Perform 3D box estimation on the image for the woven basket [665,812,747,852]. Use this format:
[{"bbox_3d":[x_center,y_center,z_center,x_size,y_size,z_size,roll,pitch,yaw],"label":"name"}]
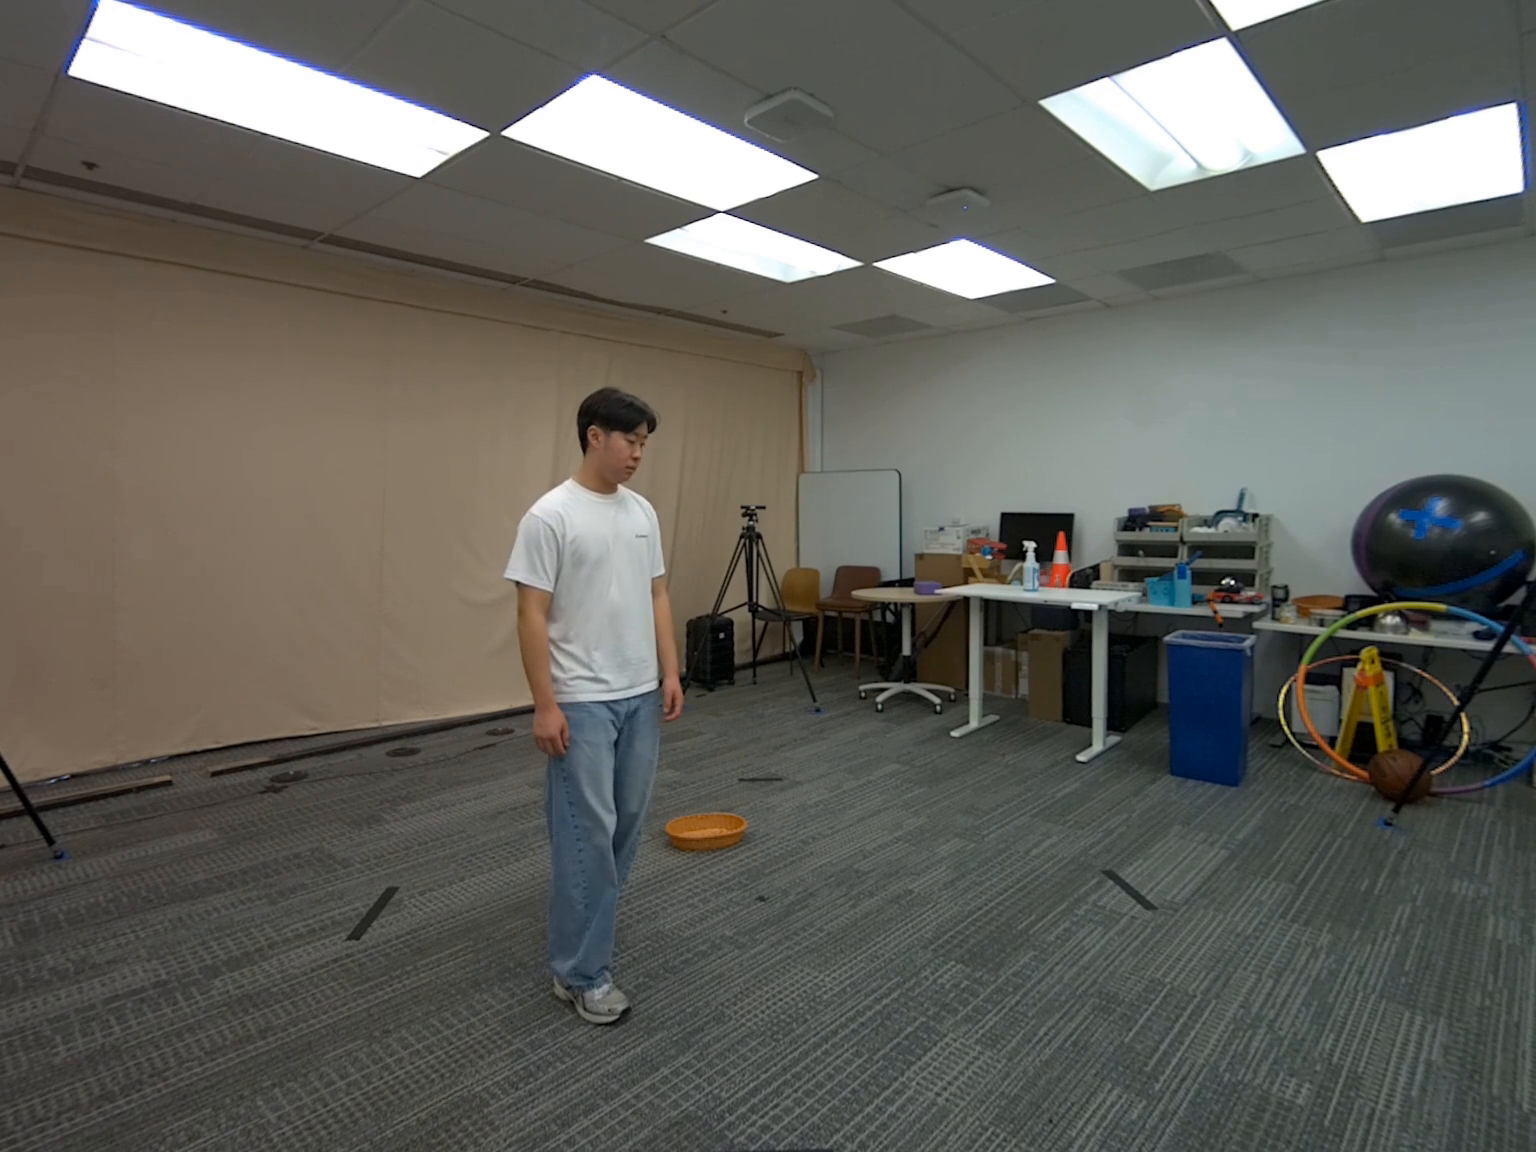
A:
[{"bbox_3d":[-0.255,1.061,3.501,0.345,0.073,0.257,-2,5,-16],"label":"woven basket"}]
